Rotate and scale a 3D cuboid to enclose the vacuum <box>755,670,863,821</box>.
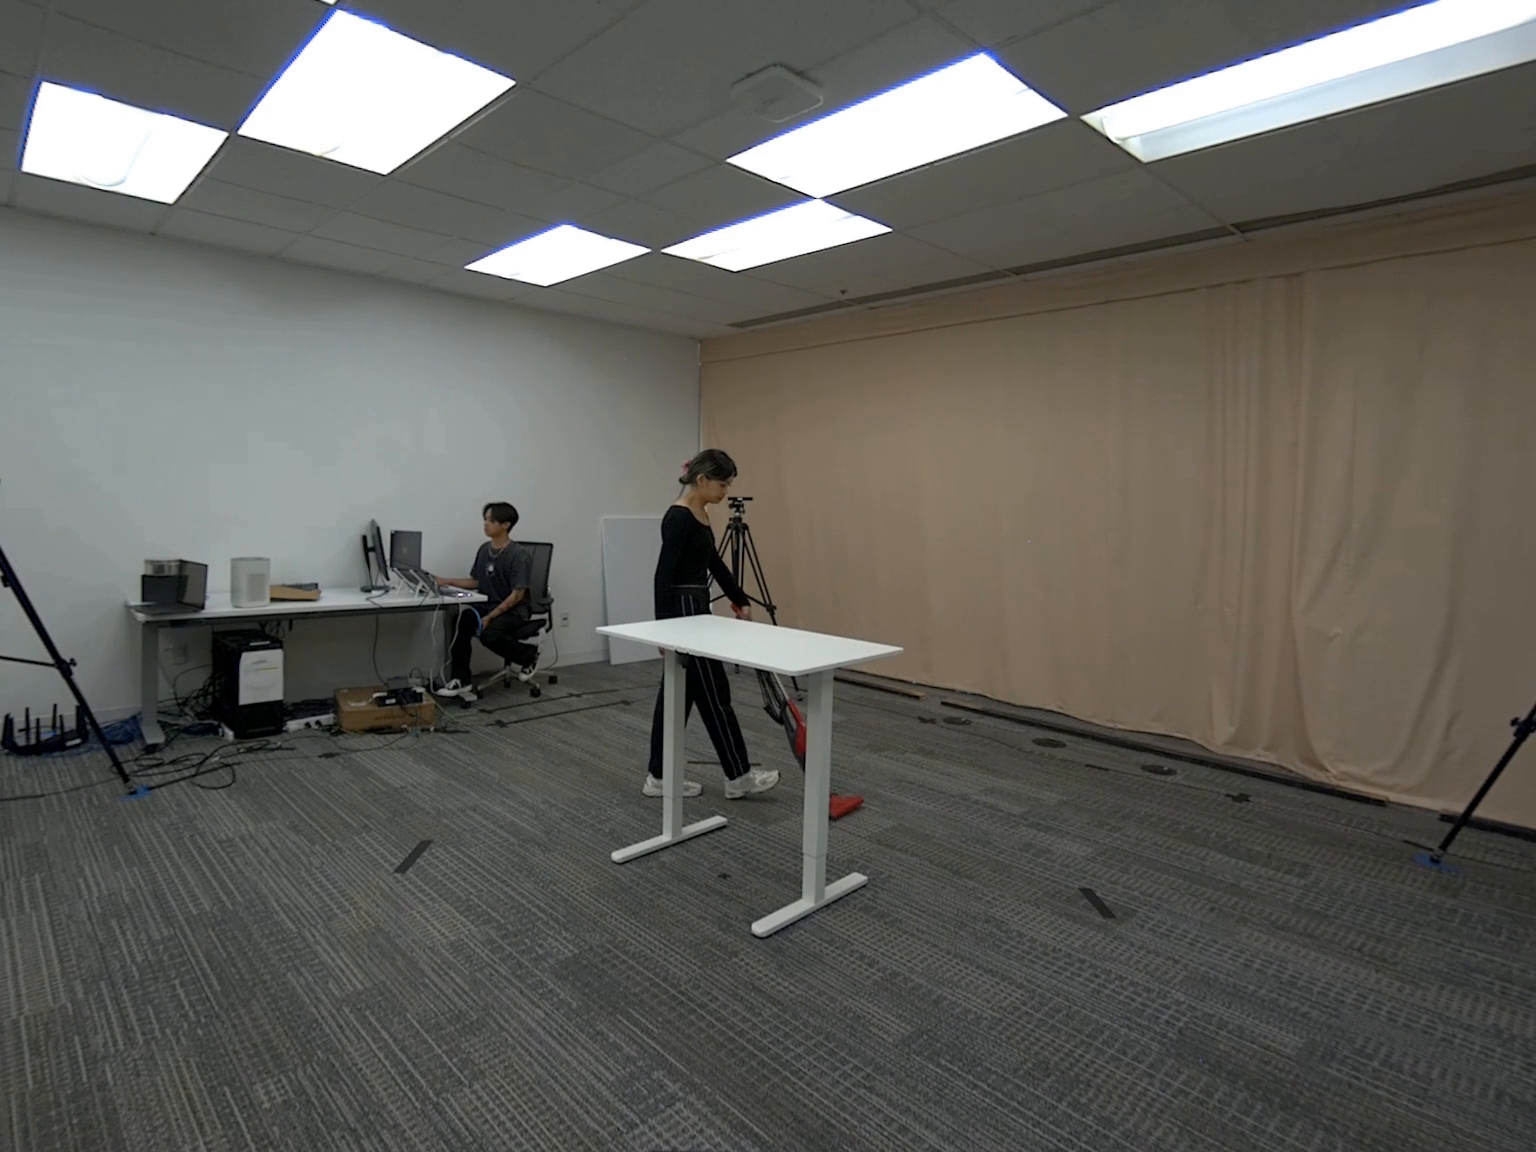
[{"bbox_3d":[0.077,0.612,3.960,0.144,1.071,0.247,-41,-24,32],"label":"vacuum"}]
